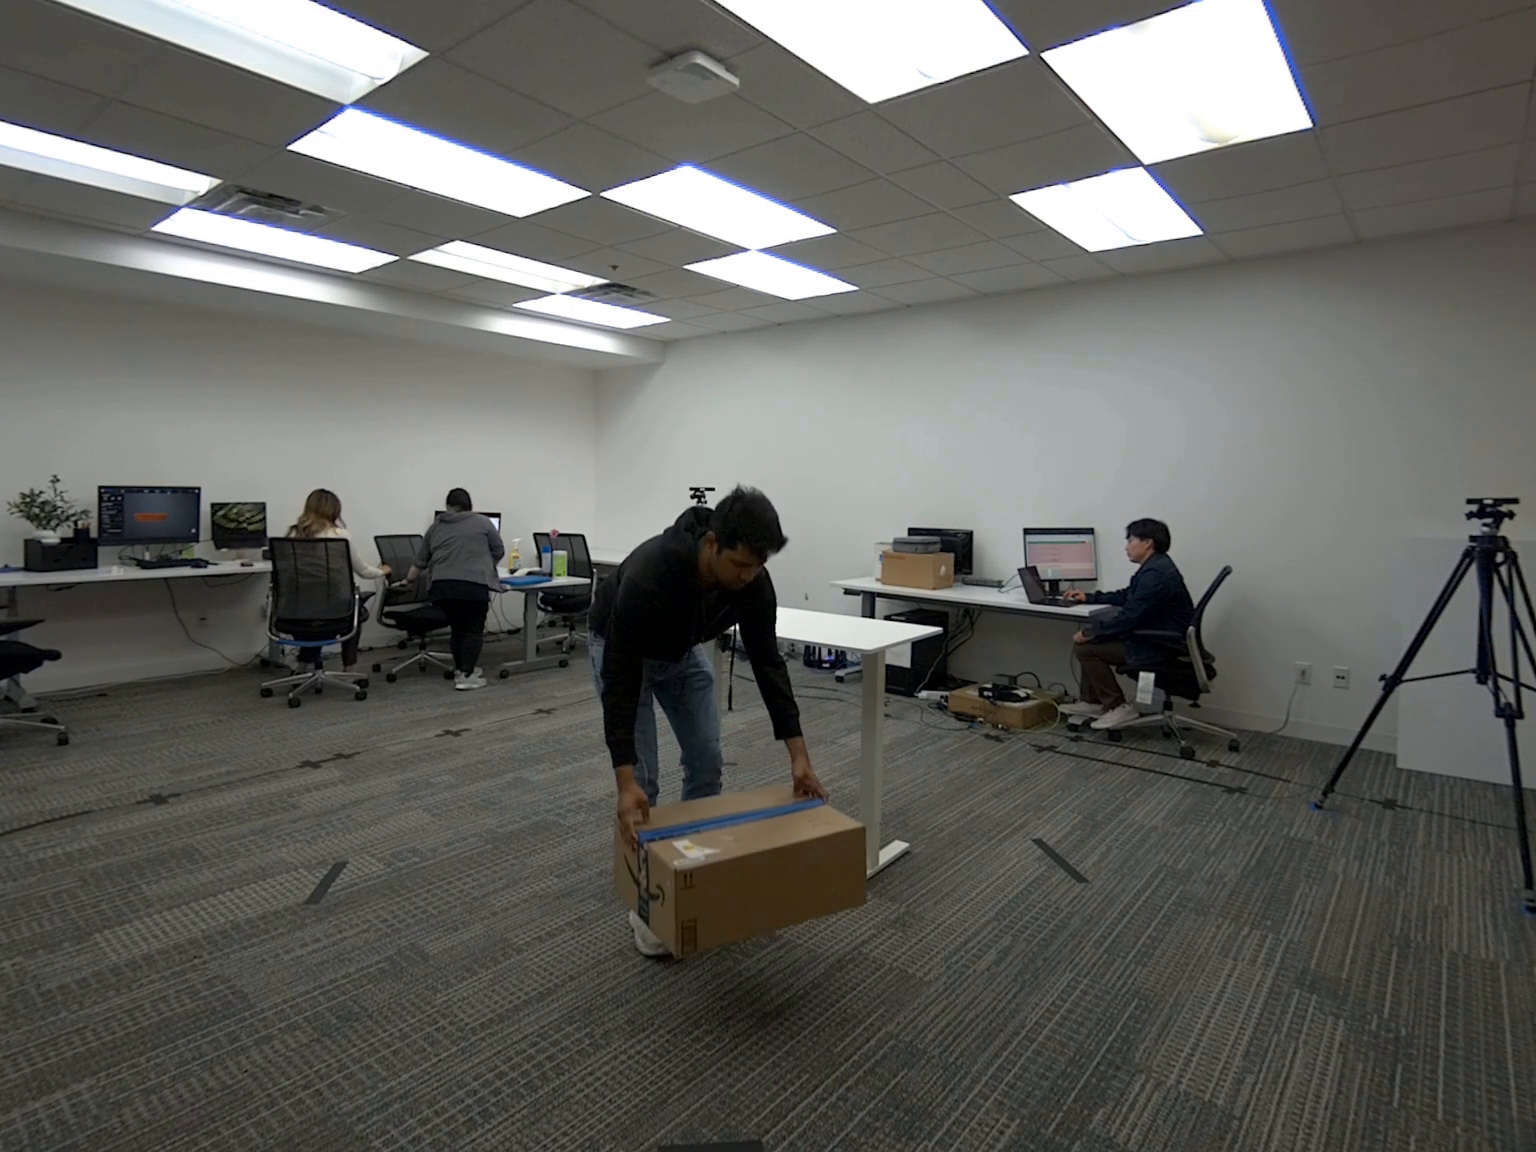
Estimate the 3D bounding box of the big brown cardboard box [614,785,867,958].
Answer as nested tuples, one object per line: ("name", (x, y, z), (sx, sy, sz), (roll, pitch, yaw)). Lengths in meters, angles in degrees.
("big brown cardboard box", (-0.089, 0.763, 2.308), (0.574, 0.232, 0.430), (-2, 4, -29))
